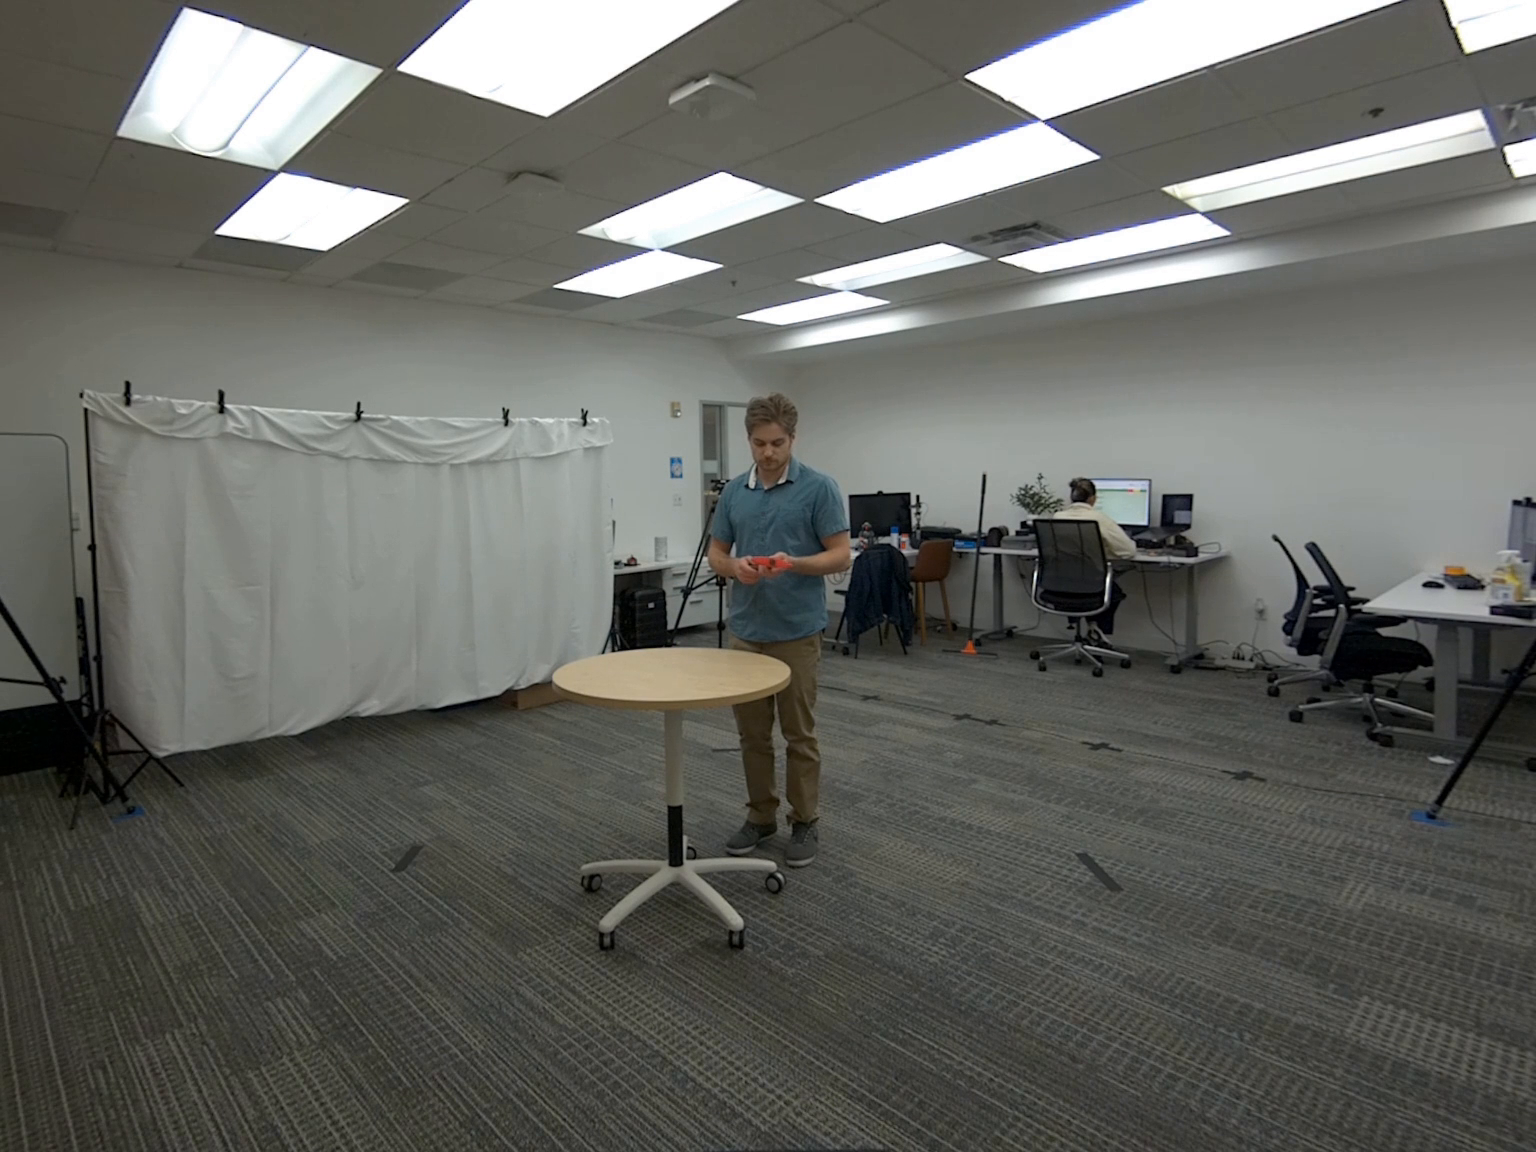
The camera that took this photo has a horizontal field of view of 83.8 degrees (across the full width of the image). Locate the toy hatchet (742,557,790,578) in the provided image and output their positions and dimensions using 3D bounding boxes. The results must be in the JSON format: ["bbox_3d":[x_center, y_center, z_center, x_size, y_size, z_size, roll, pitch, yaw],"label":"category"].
[{"bbox_3d":[-0.034,-0.041,2.871,0.128,0.030,0.276,8,-3,-26],"label":"toy hatchet"}]
